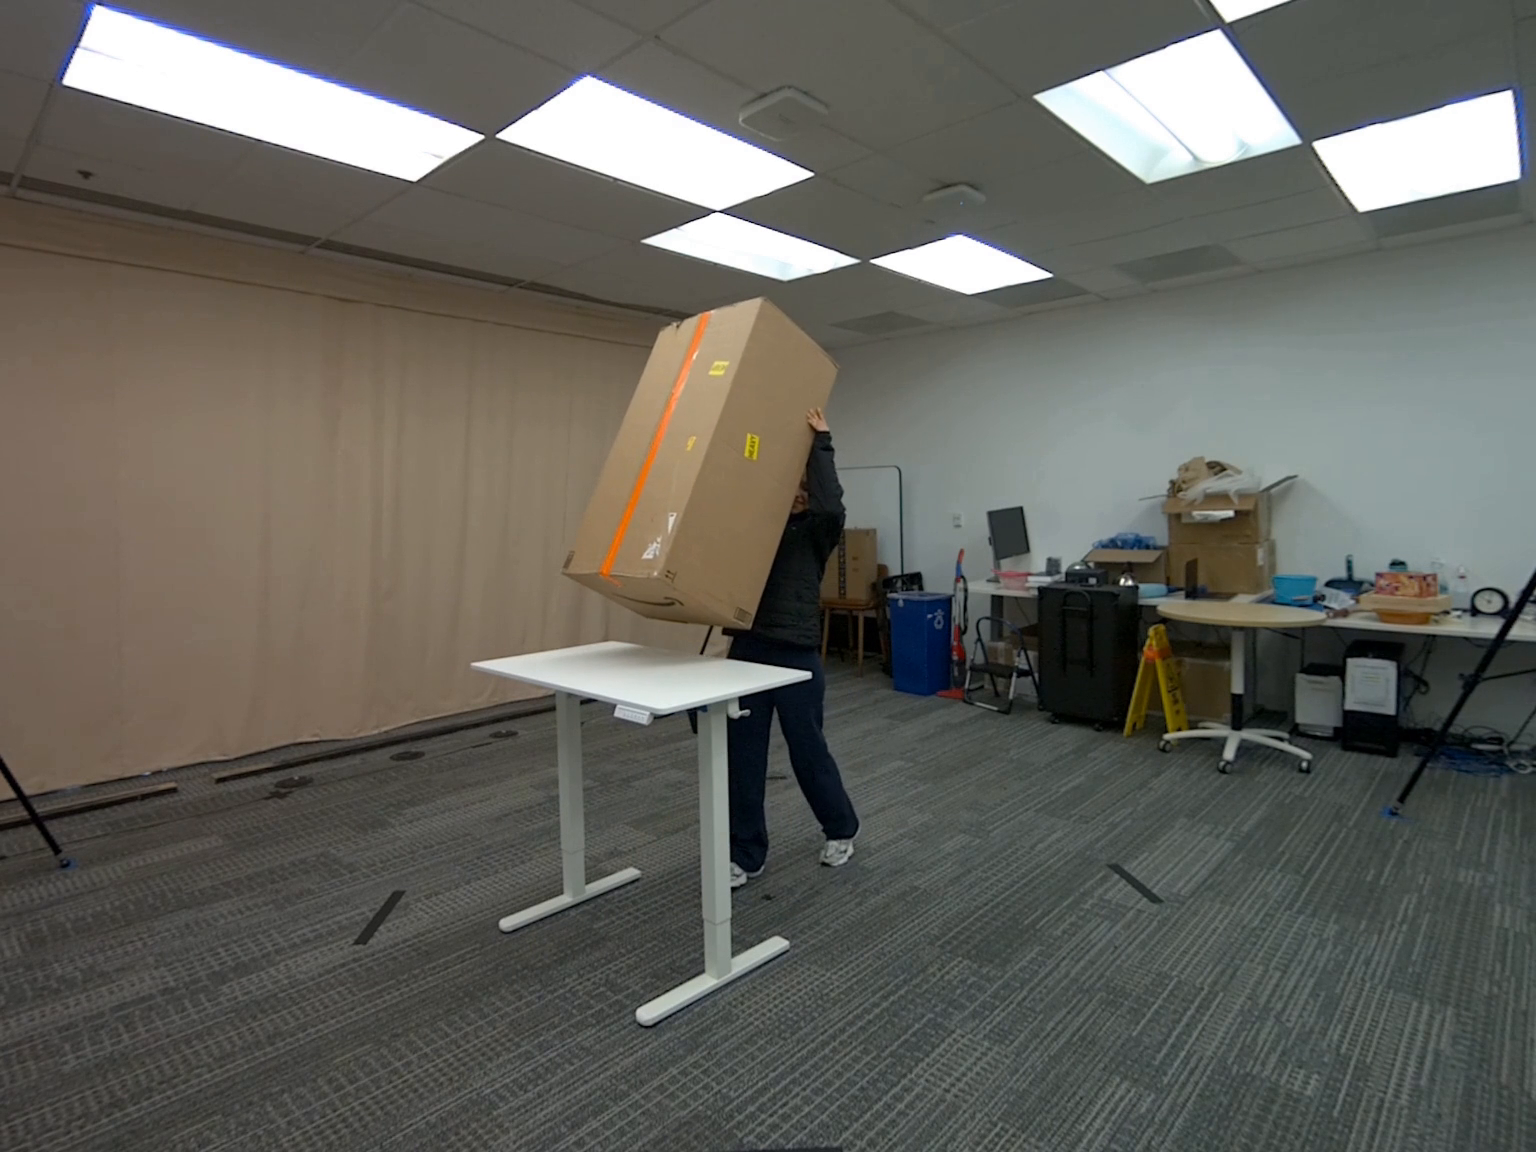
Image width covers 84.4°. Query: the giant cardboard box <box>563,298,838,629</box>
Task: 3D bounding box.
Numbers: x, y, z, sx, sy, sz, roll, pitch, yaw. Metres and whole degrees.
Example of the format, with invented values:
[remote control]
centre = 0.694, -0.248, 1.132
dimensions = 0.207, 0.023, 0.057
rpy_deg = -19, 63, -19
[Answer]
[giant cardboard box]
centre = -0.219, -0.380, 2.981
dimensions = 0.431, 1.031, 0.603
rpy_deg = 31, -20, -37
